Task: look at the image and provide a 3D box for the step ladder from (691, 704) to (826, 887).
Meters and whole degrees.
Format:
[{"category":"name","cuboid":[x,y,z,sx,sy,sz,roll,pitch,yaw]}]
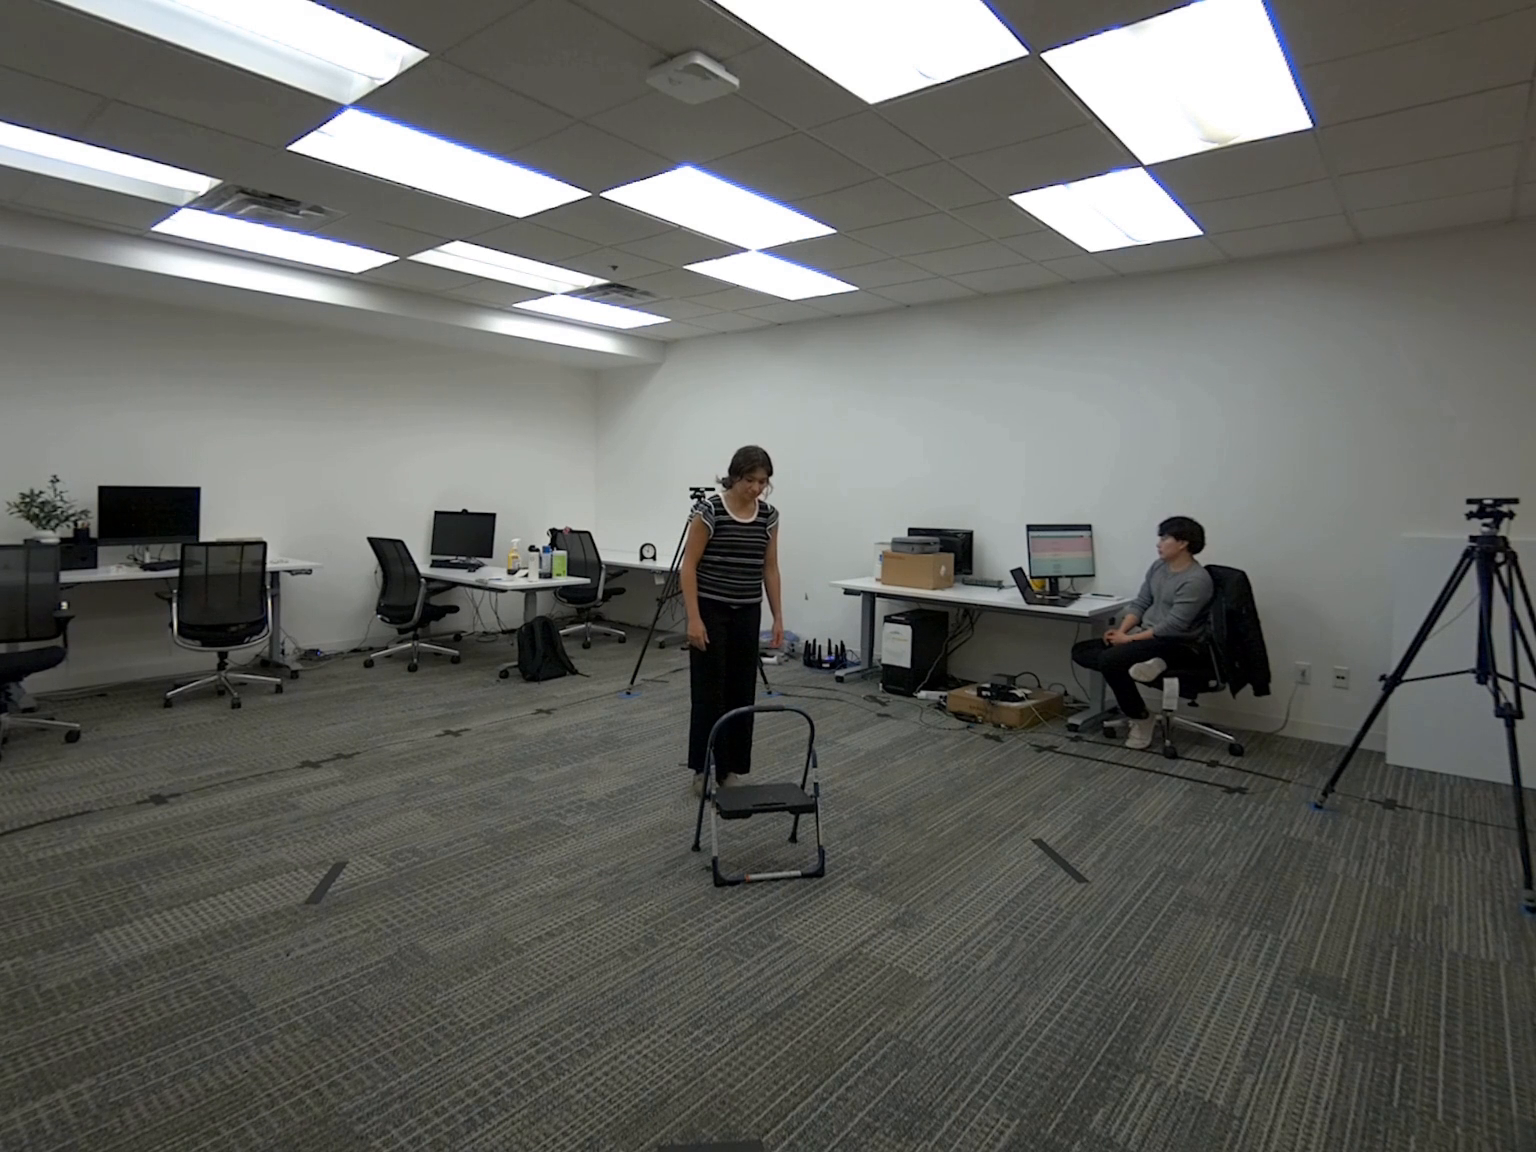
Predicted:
[{"category":"step ladder","cuboid":[-0.043,0.765,3.163,0.423,0.604,0.356,0,3,-16]}]
